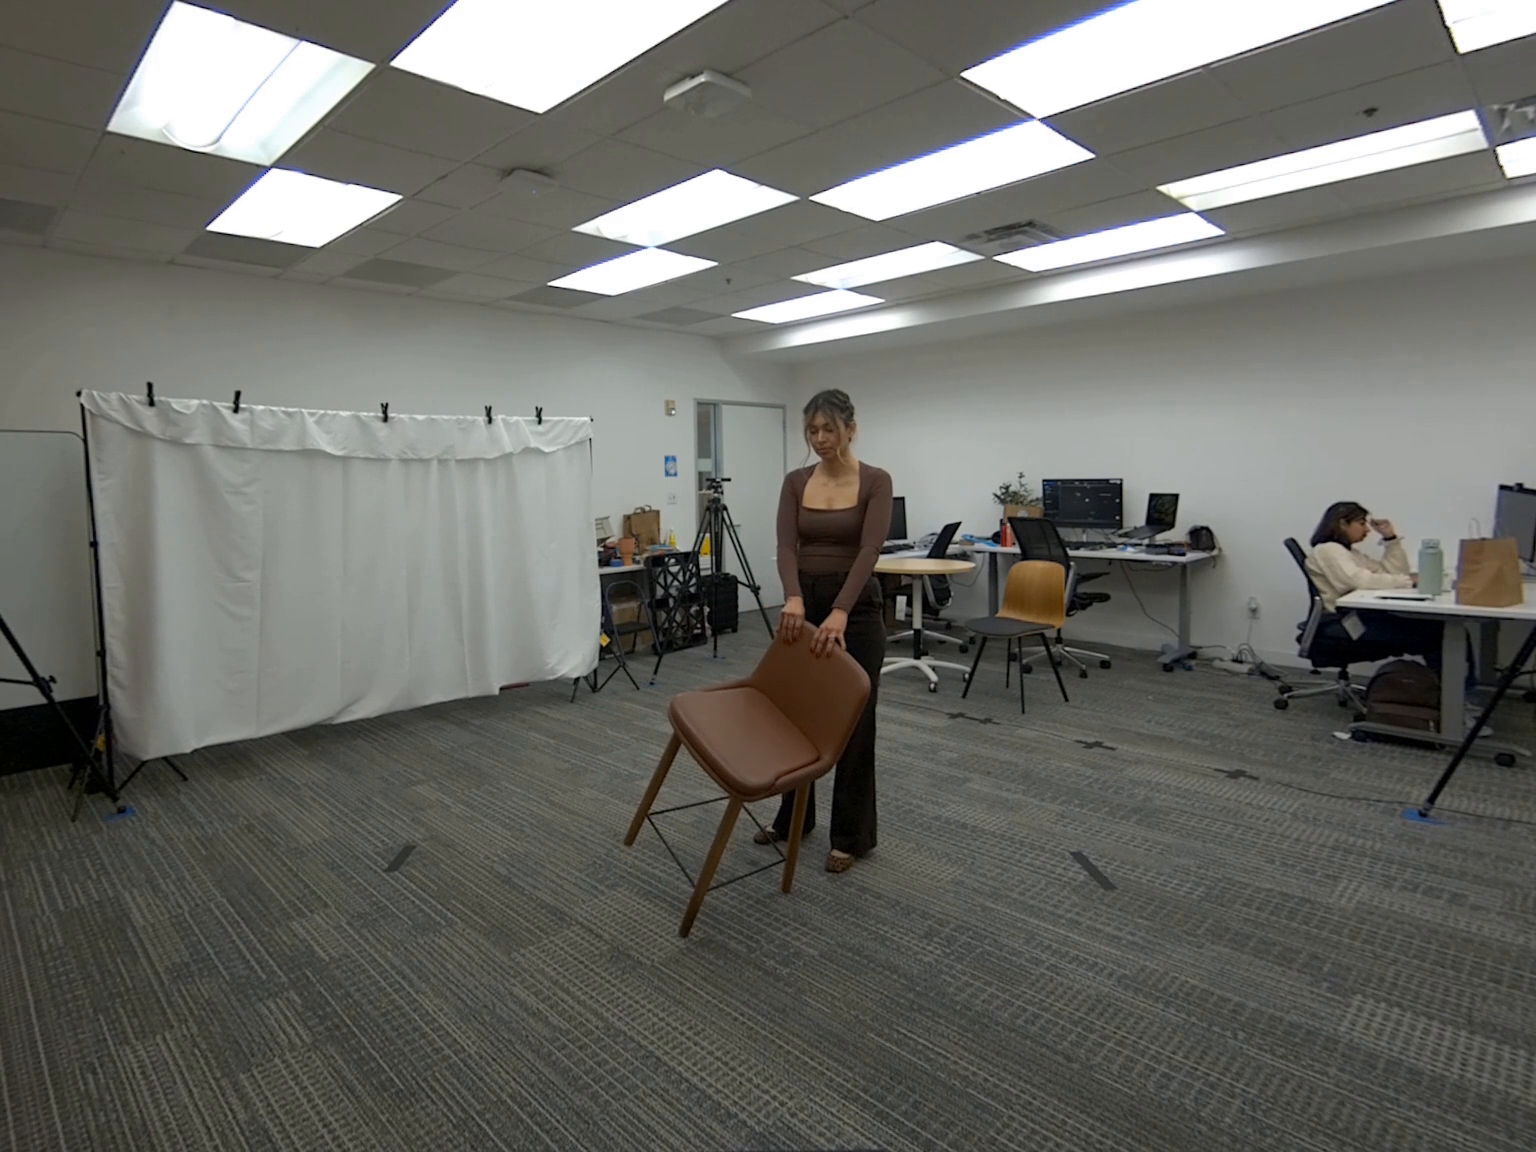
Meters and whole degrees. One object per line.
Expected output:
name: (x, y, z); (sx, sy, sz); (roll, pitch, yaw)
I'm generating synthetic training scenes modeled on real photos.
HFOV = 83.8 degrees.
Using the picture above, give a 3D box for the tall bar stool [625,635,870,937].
tall bar stool: (-0.076, 0.616, 2.709); (0.454, 0.879, 0.475); (0, 29, -39)
